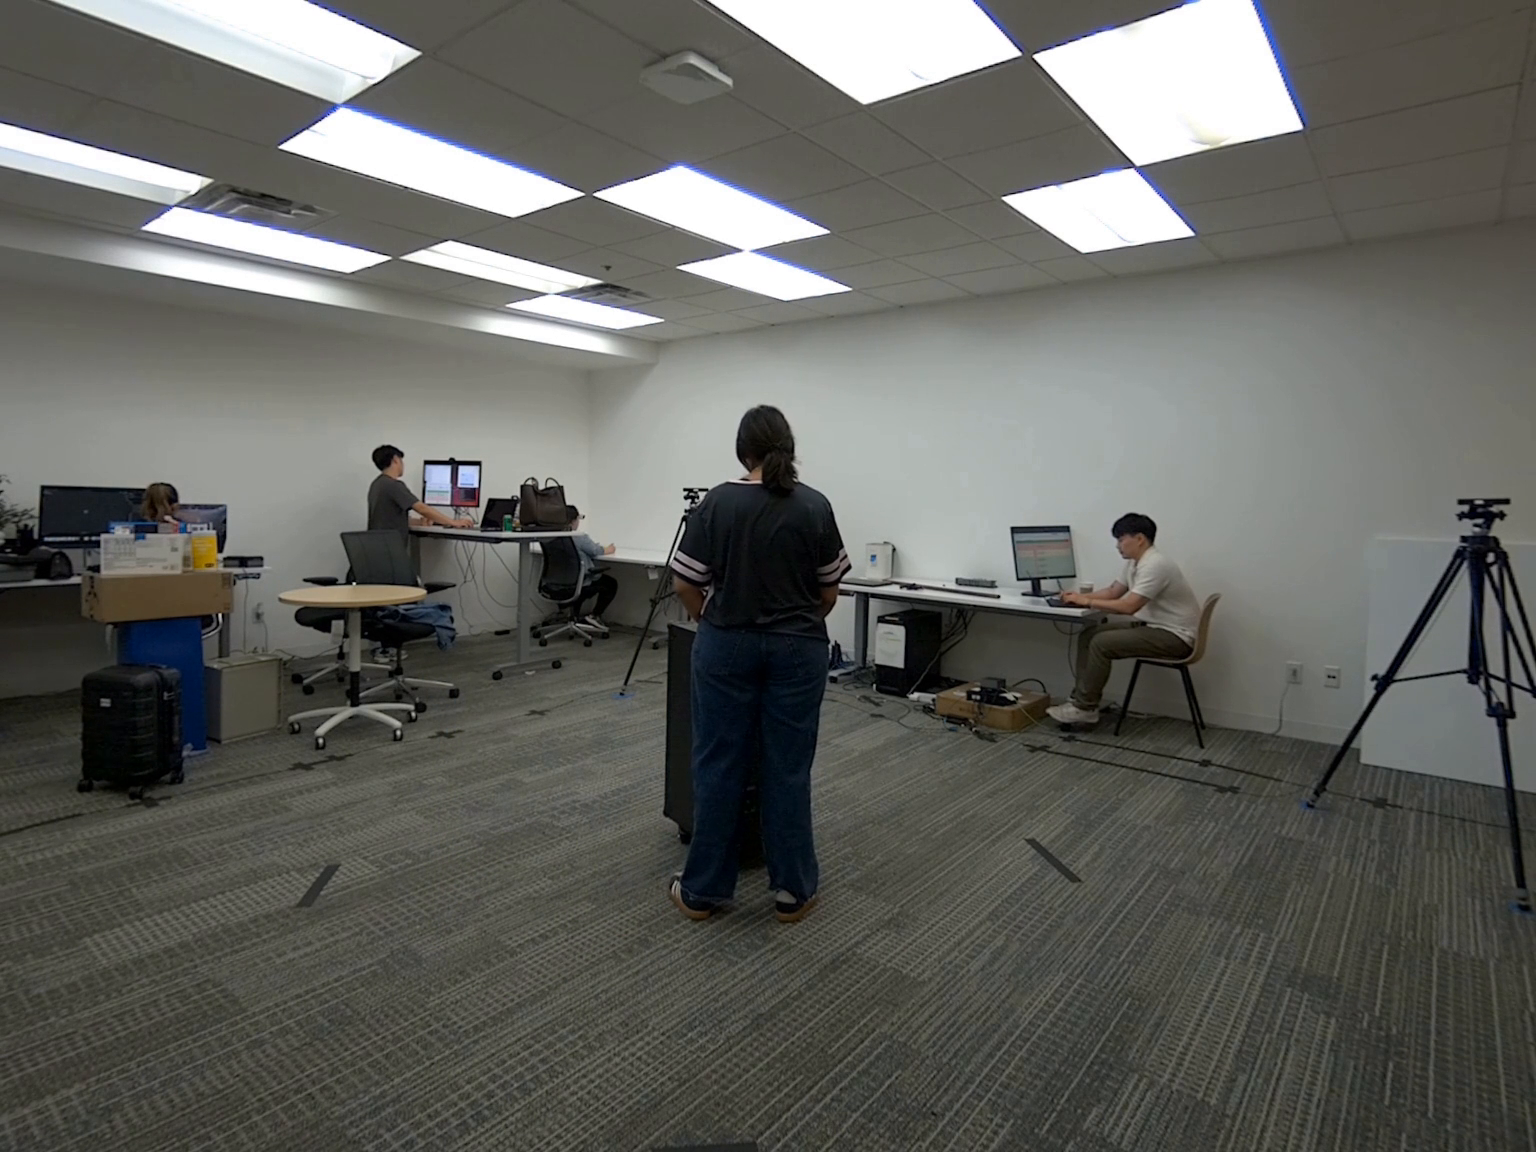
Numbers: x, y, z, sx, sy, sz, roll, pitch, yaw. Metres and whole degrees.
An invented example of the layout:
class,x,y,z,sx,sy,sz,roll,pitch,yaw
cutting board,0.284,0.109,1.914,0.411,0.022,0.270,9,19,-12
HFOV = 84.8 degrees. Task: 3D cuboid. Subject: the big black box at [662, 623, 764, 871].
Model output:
class,x,y,z,sx,sy,sz,roll,pitch,yaw
big black box,-0.152,0.627,3.315,0.374,0.866,0.540,0,3,-32
